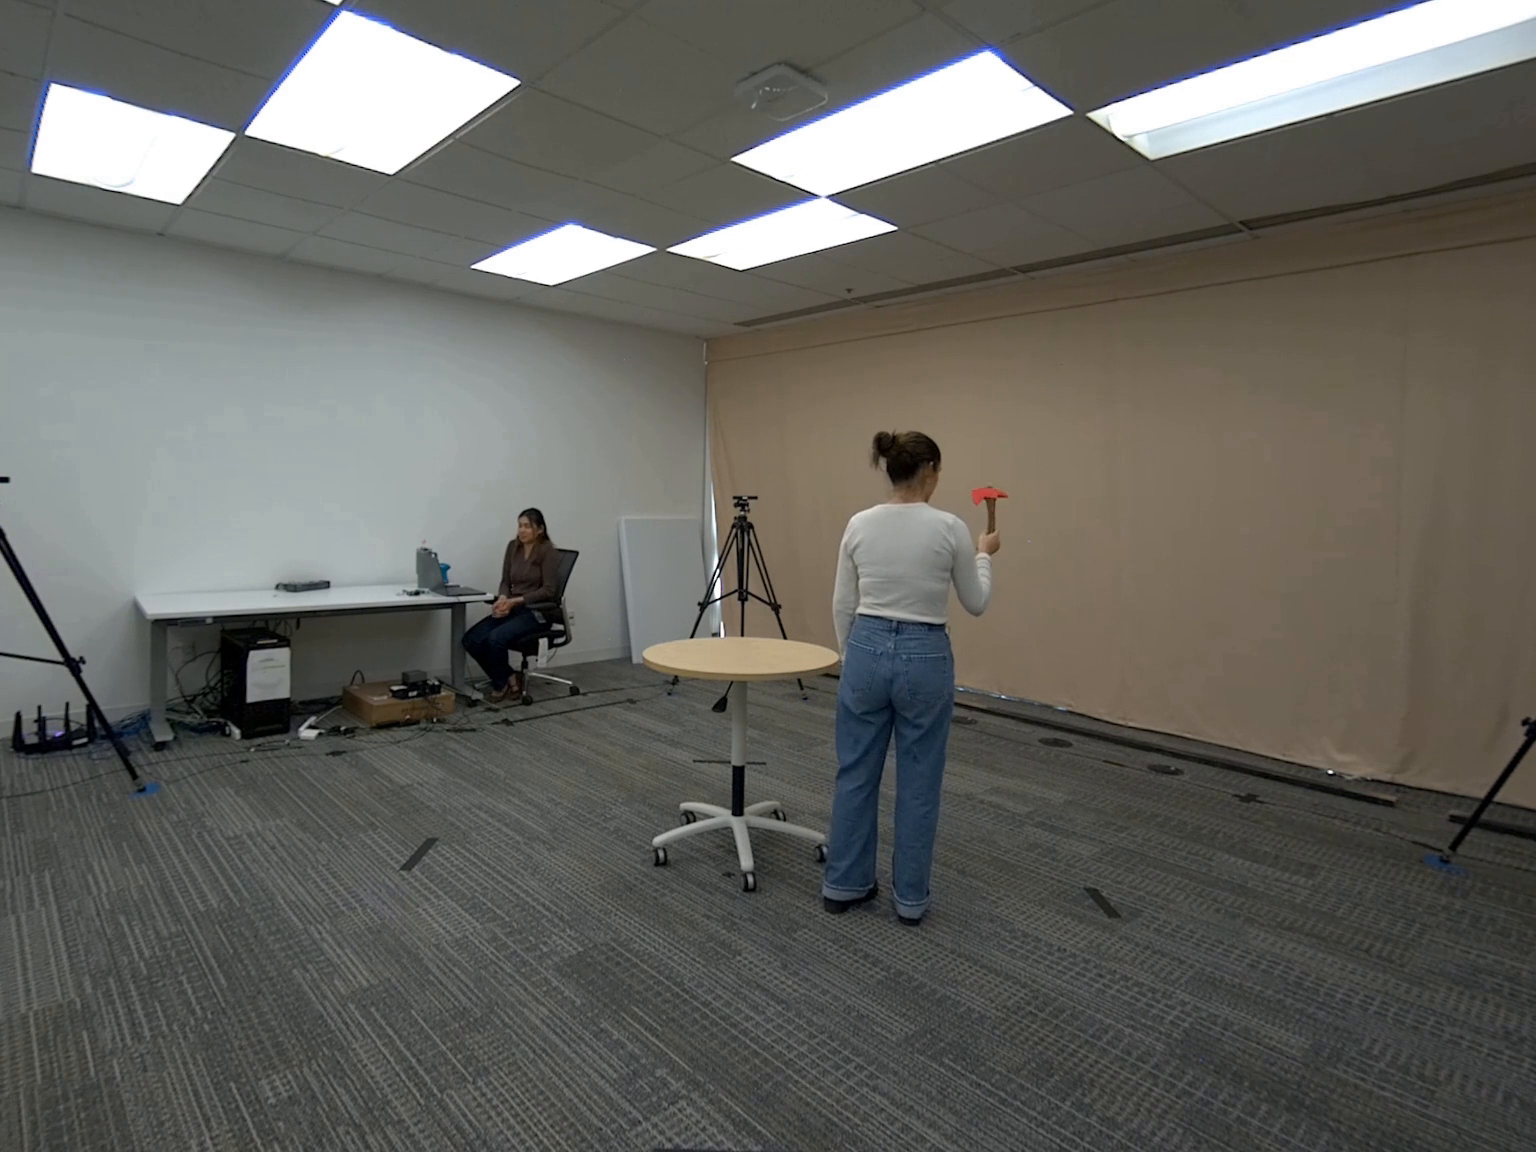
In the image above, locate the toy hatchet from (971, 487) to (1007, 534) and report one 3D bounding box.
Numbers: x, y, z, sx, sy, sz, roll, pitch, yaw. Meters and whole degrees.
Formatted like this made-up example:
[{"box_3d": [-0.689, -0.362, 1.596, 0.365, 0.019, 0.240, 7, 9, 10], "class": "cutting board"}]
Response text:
[{"box_3d": [0.751, -0.205, 2.996, 0.133, 0.271, 0.029, 25, -22, 15], "class": "toy hatchet"}]
